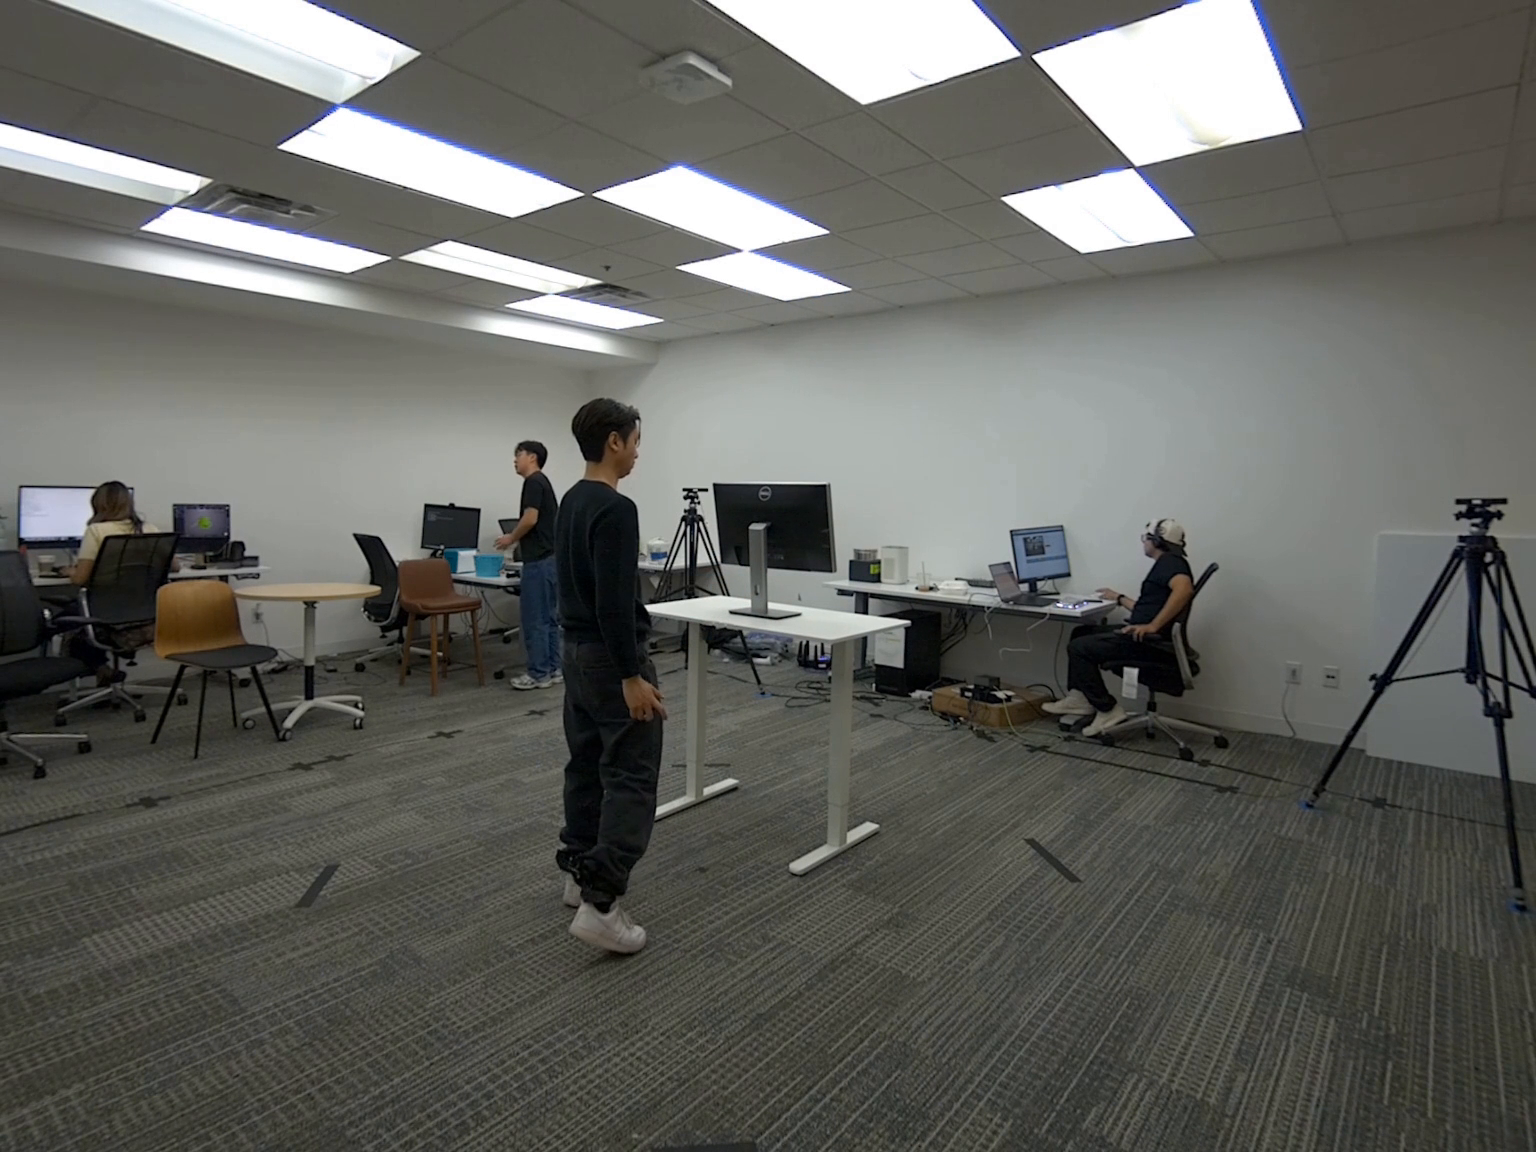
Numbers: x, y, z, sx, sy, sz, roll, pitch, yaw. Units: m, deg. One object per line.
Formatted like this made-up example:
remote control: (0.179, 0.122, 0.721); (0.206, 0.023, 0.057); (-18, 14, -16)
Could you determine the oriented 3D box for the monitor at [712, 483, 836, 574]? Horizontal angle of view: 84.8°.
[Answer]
monitor: (-0.016, -0.111, 3.478); (0.556, 0.522, 0.182); (4, 2, 33)
